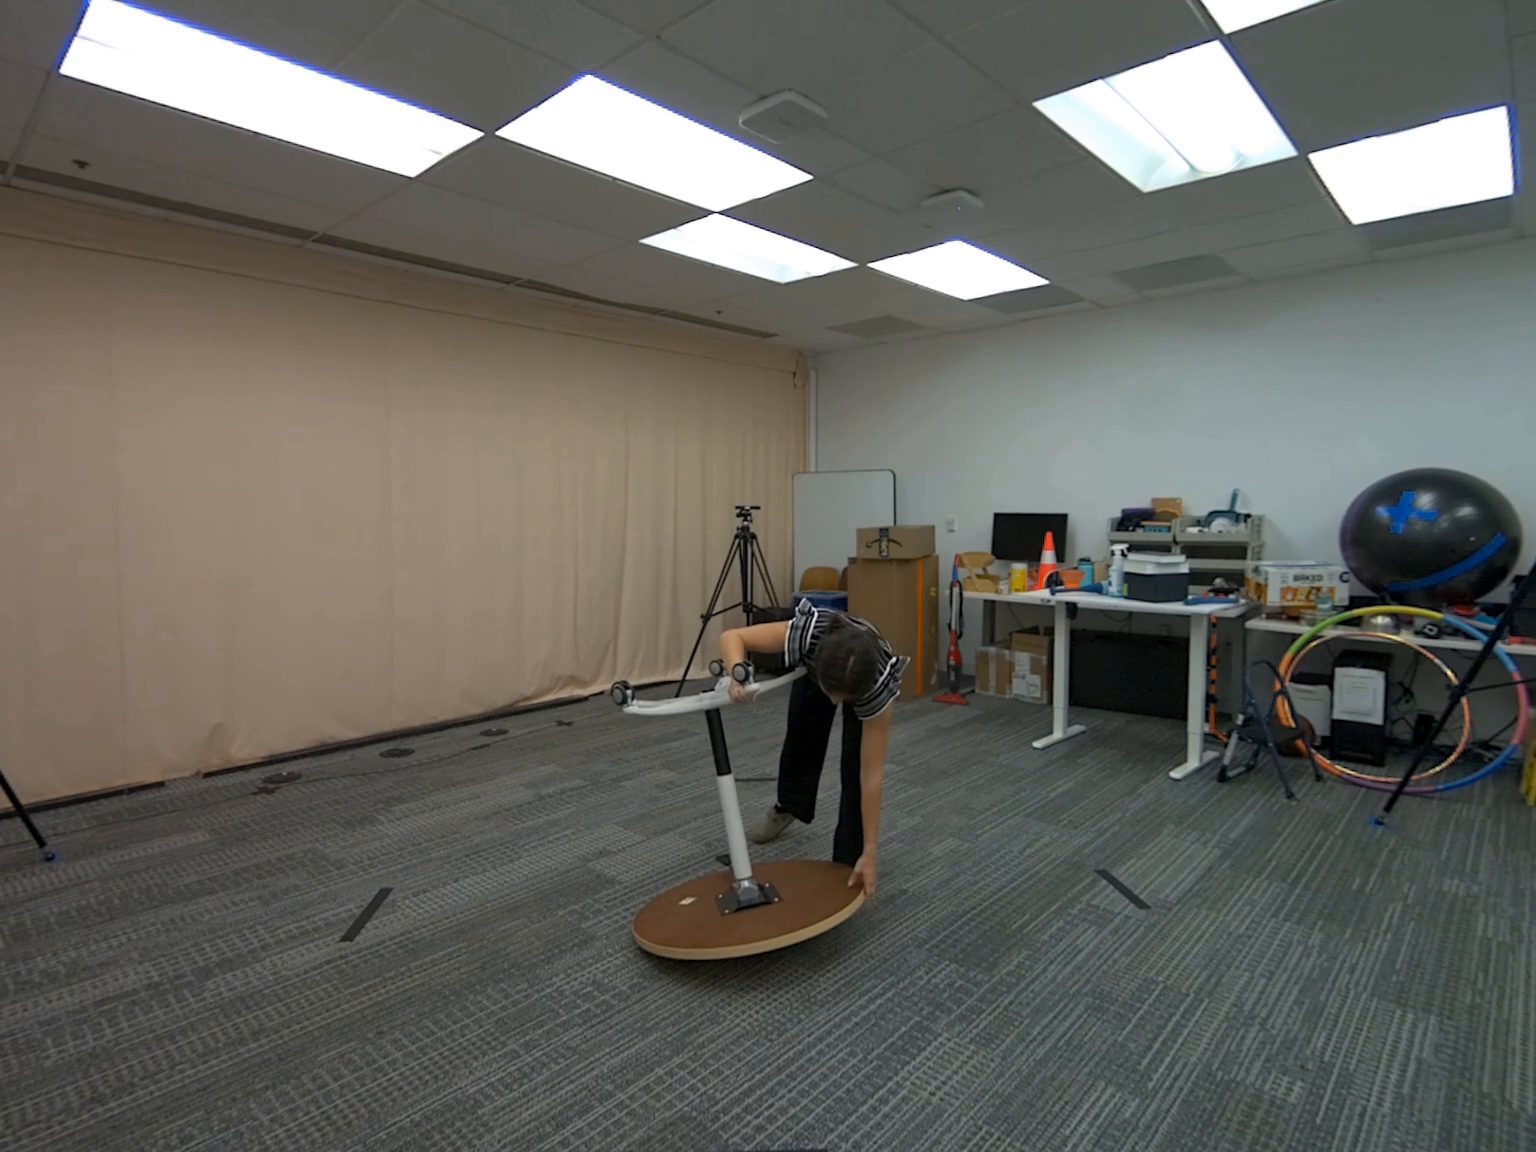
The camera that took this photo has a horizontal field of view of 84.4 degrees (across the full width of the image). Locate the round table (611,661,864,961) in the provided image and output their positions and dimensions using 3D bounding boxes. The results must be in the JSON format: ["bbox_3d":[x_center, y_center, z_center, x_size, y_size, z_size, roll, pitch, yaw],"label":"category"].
[{"bbox_3d":[-0.135,0.695,2.783,0.763,0.797,0.763,-10,-4,-3],"label":"round table"}]
